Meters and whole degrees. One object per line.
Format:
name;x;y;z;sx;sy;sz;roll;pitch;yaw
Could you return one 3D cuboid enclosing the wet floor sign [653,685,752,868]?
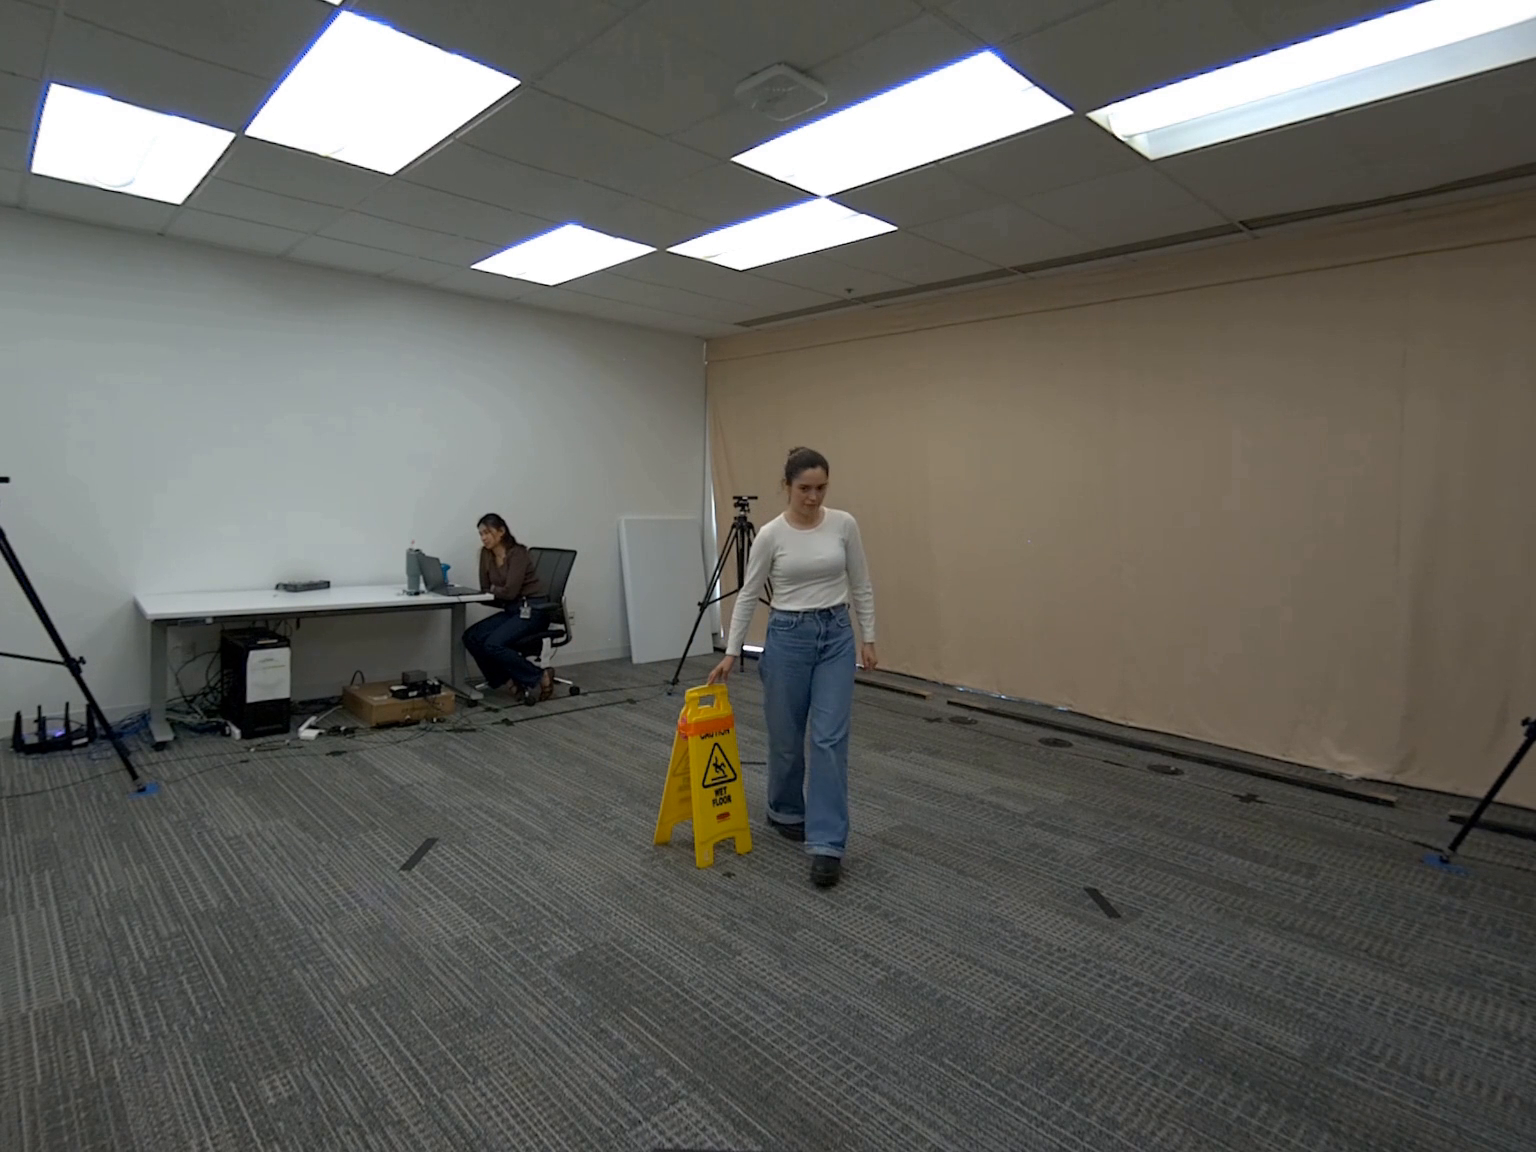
wet floor sign;-0.259;0.754;3.324;0.276;0.645;0.297;-1;3;-44
